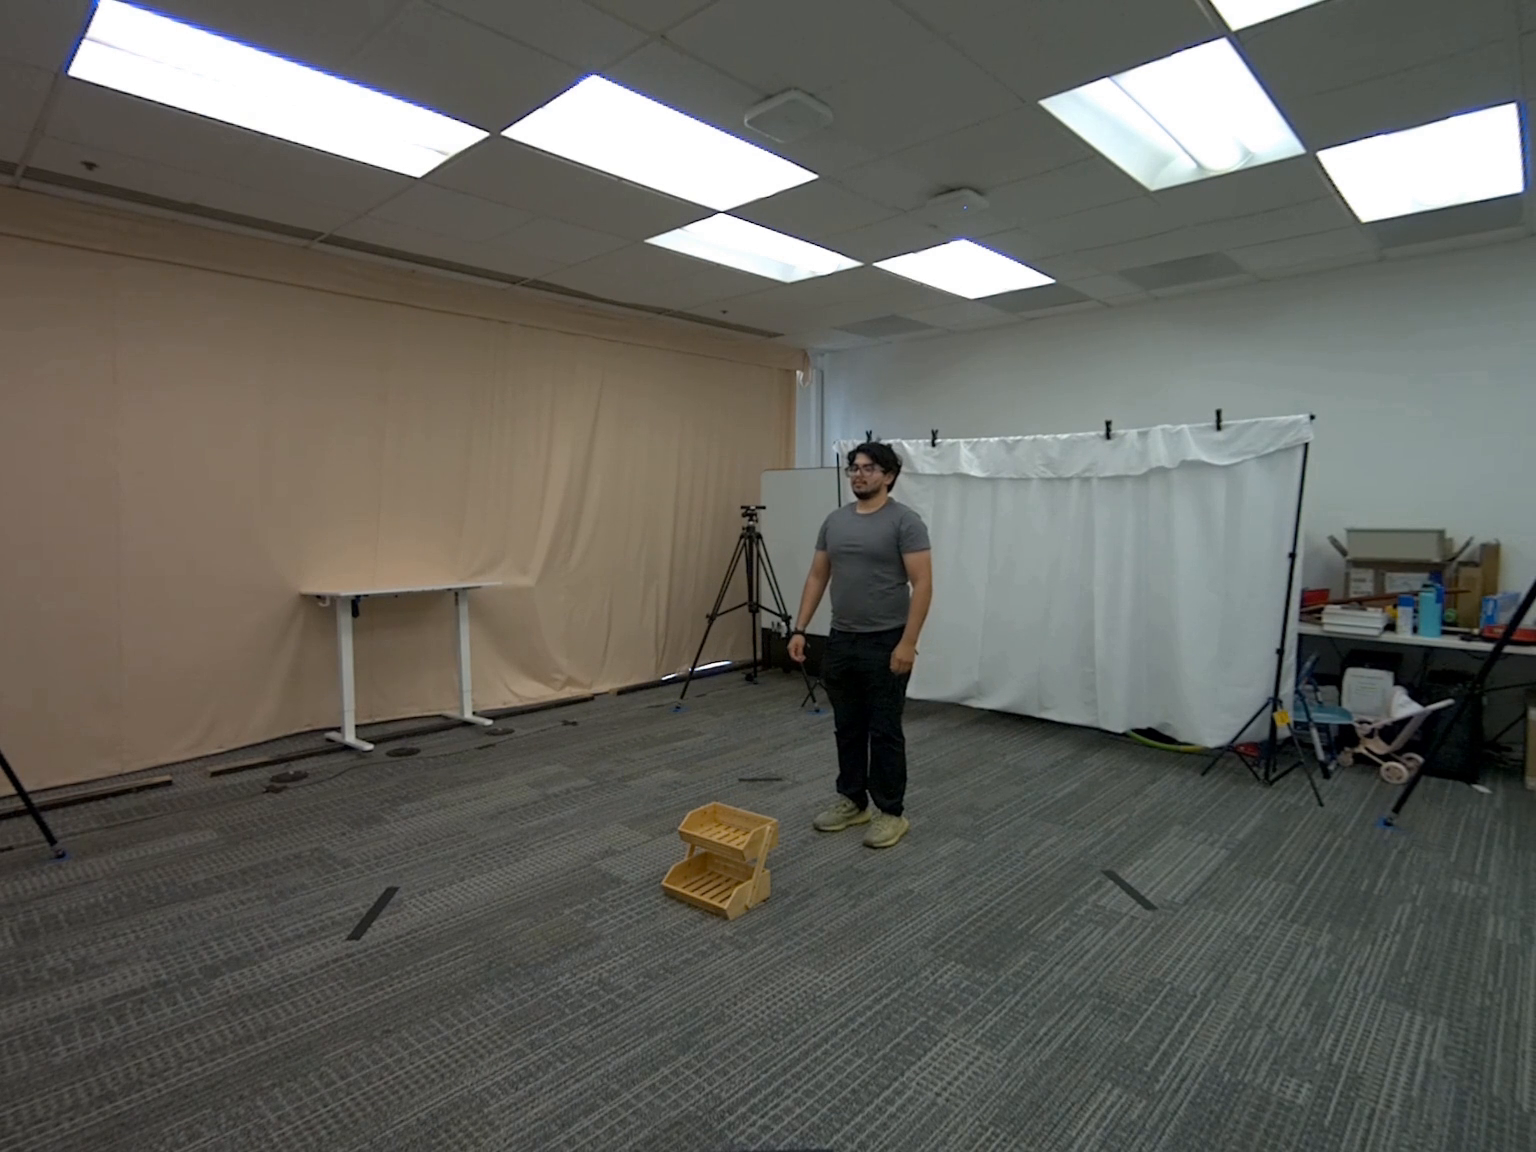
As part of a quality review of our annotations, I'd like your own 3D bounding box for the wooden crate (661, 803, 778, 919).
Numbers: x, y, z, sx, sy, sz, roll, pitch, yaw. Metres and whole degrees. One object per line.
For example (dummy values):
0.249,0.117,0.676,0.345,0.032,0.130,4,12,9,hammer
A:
-0.169,1.008,3.017,0.335,0.273,0.293,3,5,38,wooden crate
